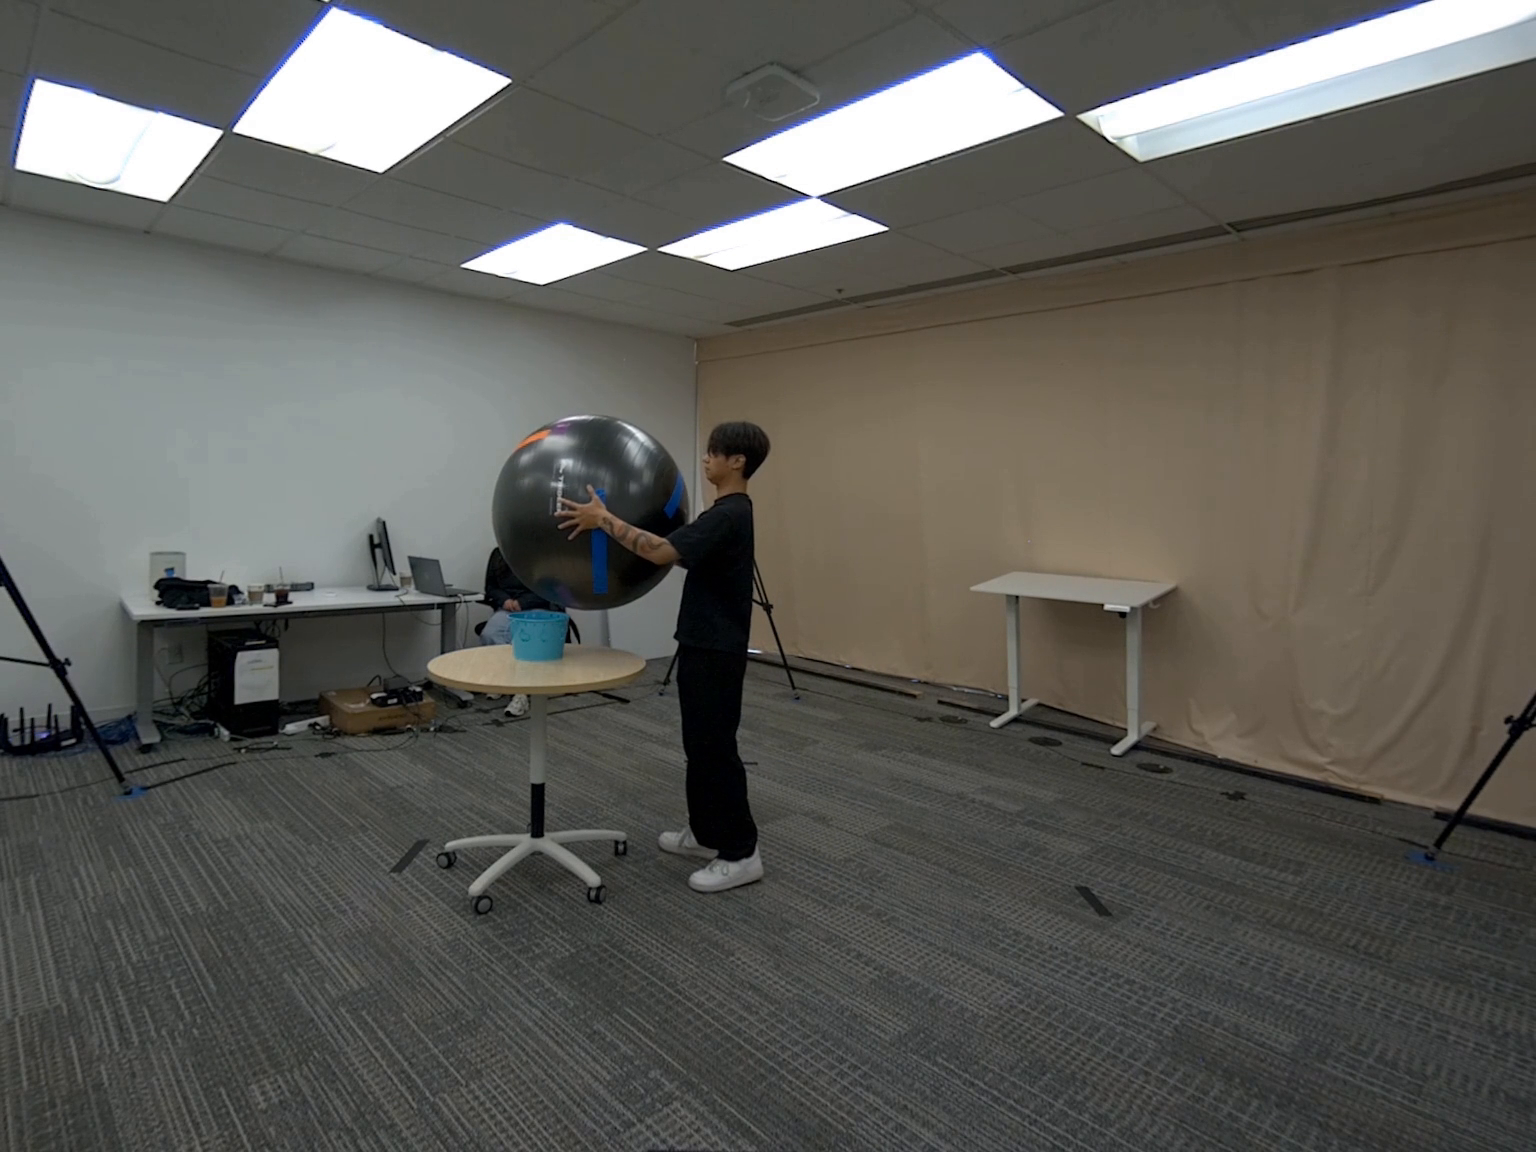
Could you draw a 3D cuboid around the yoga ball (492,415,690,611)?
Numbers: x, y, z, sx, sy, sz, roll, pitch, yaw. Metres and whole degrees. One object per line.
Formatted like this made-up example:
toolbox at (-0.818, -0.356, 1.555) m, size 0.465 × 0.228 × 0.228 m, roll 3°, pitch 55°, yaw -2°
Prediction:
yoga ball at (-0.702, -0.242, 3.301) m, size 0.757 × 0.756 × 0.761 m, roll 1°, pitch 4°, yaw -1°
